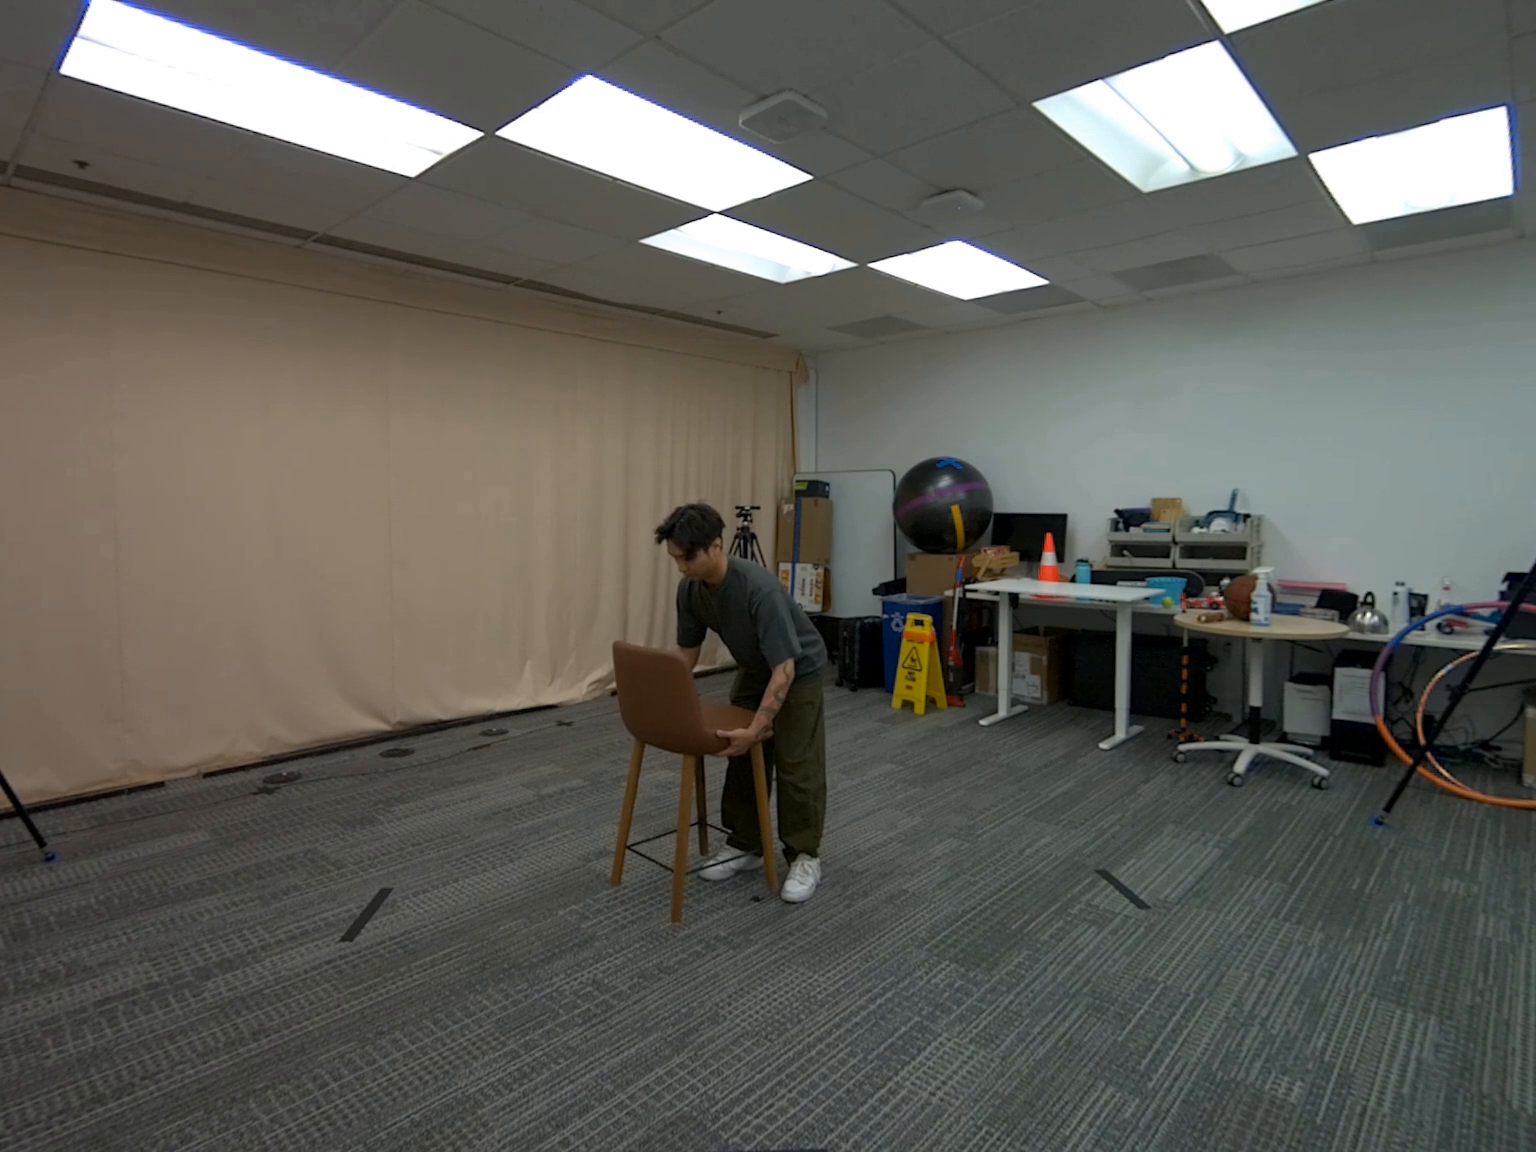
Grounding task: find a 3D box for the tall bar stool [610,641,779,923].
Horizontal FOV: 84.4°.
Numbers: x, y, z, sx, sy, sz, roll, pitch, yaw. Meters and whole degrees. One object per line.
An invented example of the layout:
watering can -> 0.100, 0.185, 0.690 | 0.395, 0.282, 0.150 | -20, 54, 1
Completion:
tall bar stool -> -0.258, 0.661, 2.954 | 0.453, 0.888, 0.471 | -3, 3, -41
